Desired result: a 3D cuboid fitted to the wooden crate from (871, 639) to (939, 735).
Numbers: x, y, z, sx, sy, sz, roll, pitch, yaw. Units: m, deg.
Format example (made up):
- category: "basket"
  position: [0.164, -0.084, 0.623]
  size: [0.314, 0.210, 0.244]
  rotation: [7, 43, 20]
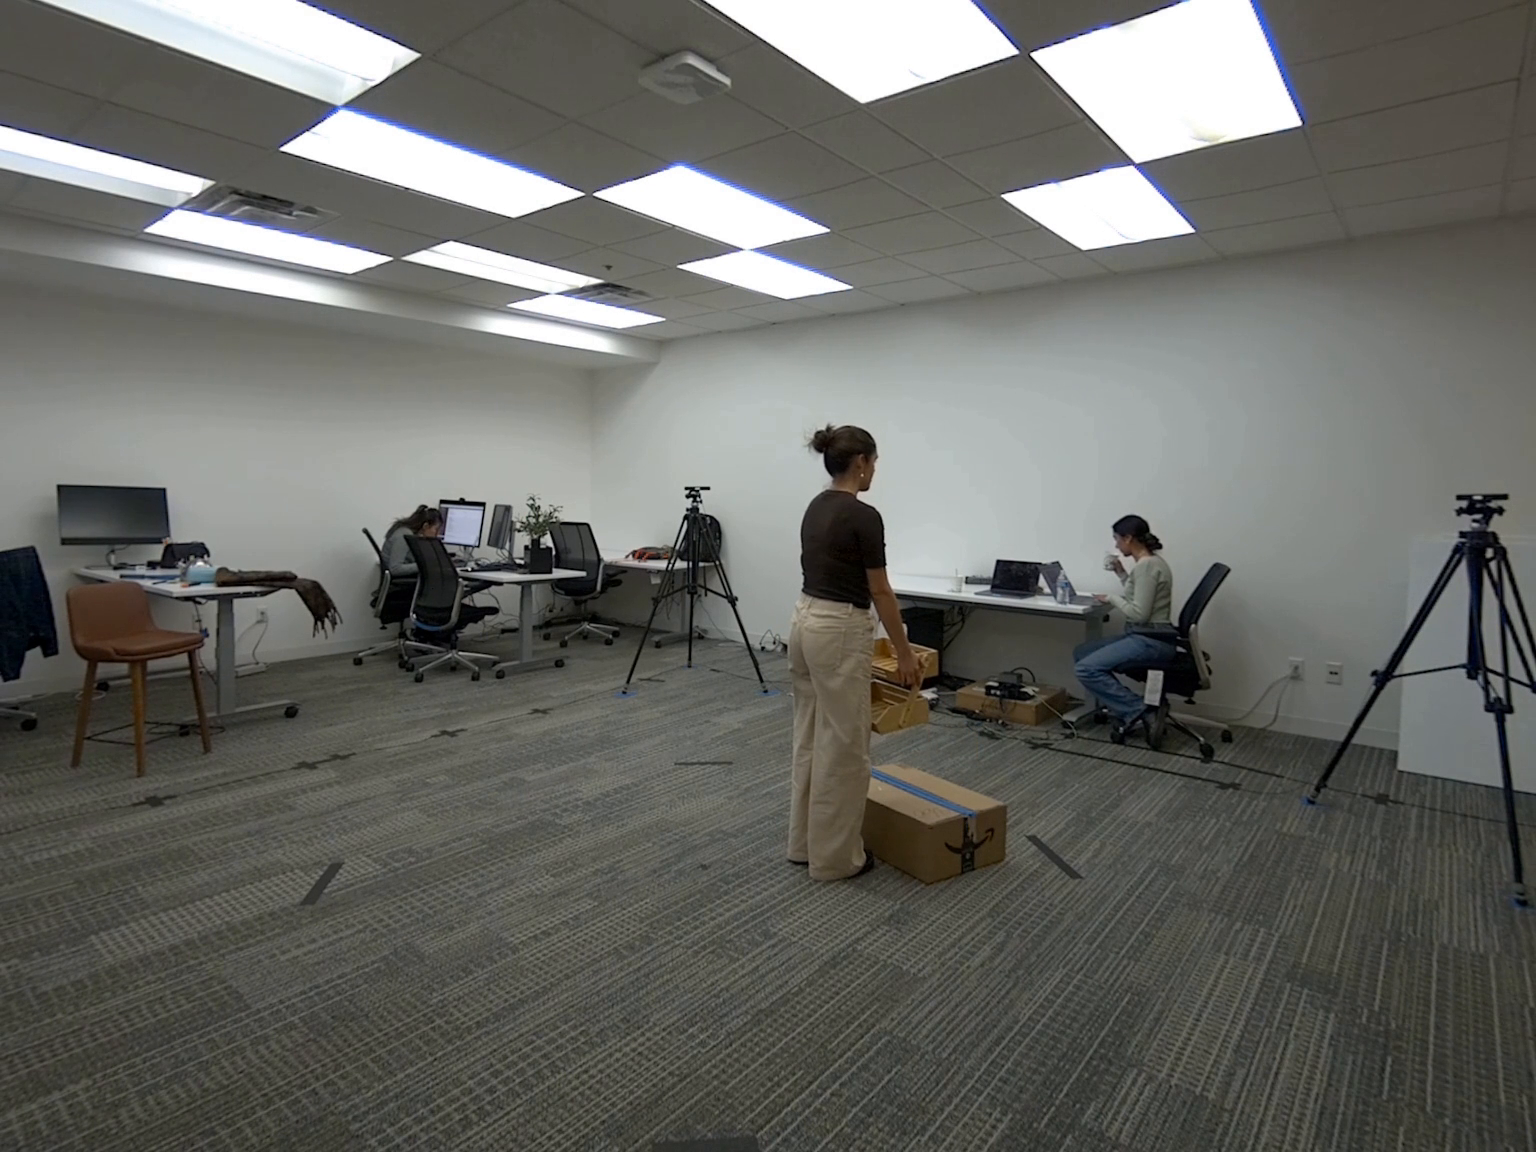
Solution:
- category: "wooden crate"
  position: [0.415, 0.401, 3.209]
  size: [0.295, 0.271, 0.335]
  rotation: [-7, 9, -29]
